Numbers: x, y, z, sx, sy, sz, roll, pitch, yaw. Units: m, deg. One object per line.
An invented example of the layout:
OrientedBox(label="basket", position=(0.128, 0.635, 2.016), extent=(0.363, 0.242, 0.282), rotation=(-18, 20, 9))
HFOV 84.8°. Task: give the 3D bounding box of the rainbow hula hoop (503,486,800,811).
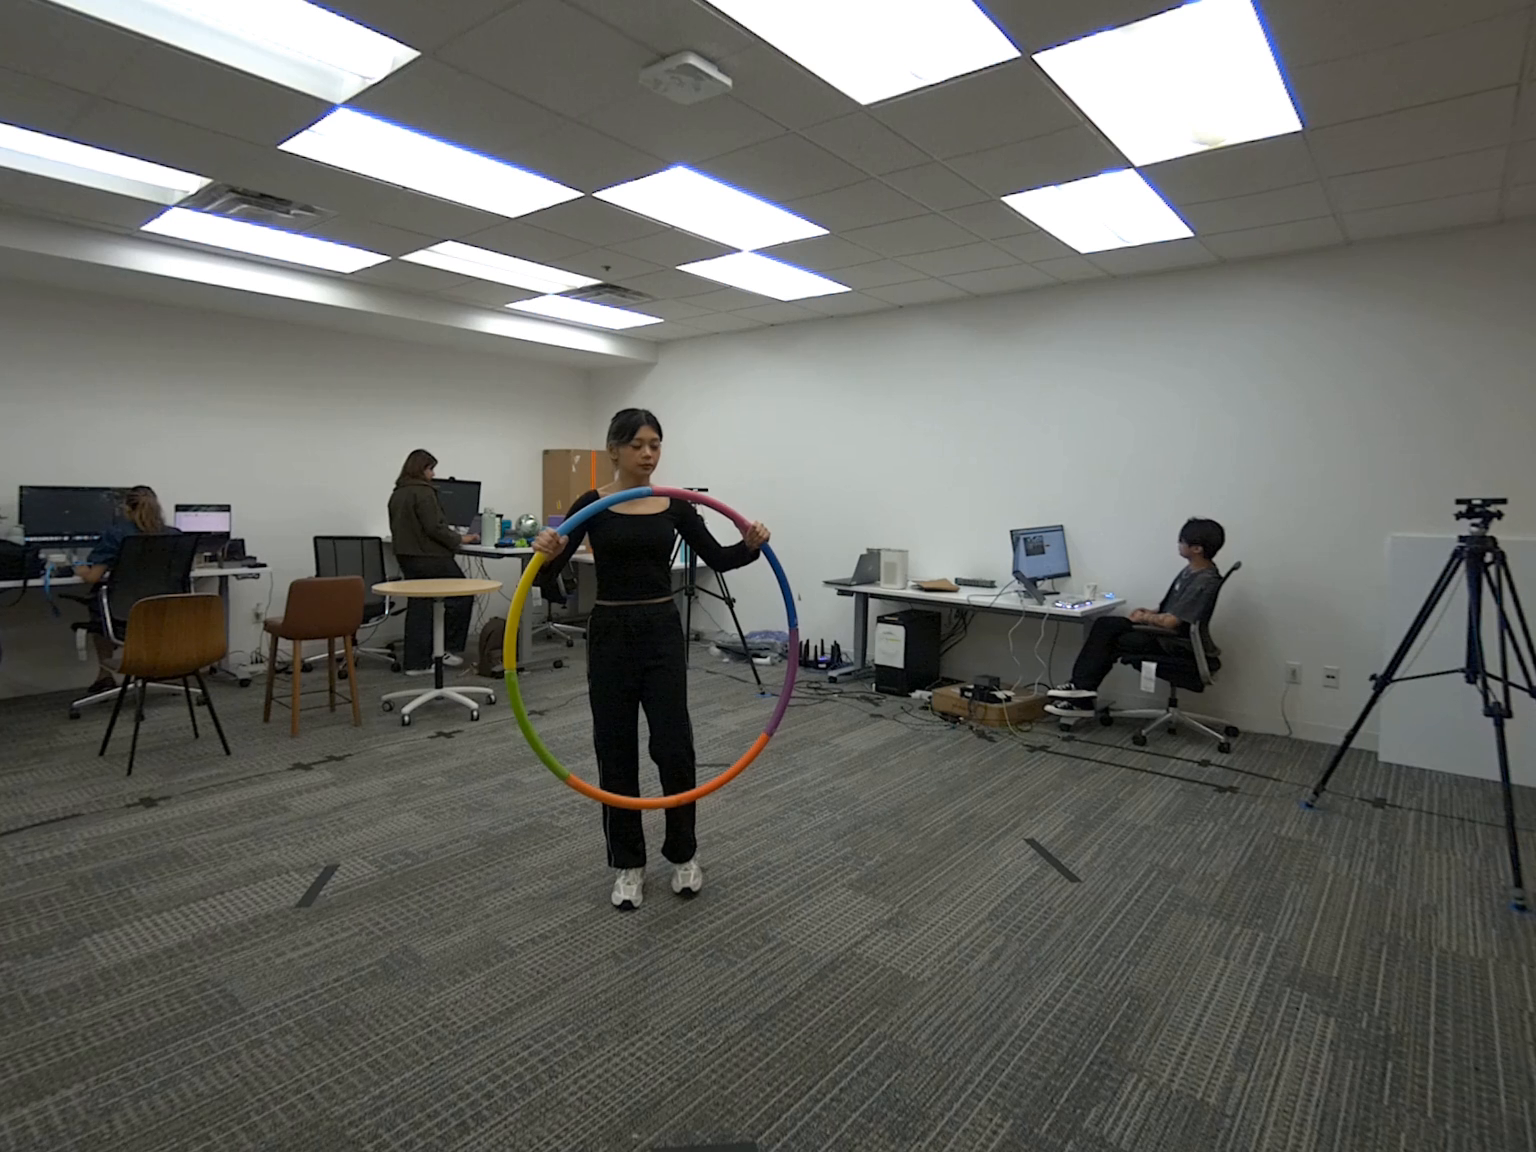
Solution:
OrientedBox(label="rainbow hula hoop", position=(-0.342, 0.218, 2.647), extent=(0.956, 0.980, 0.036), rotation=(-1, -2, -24))
